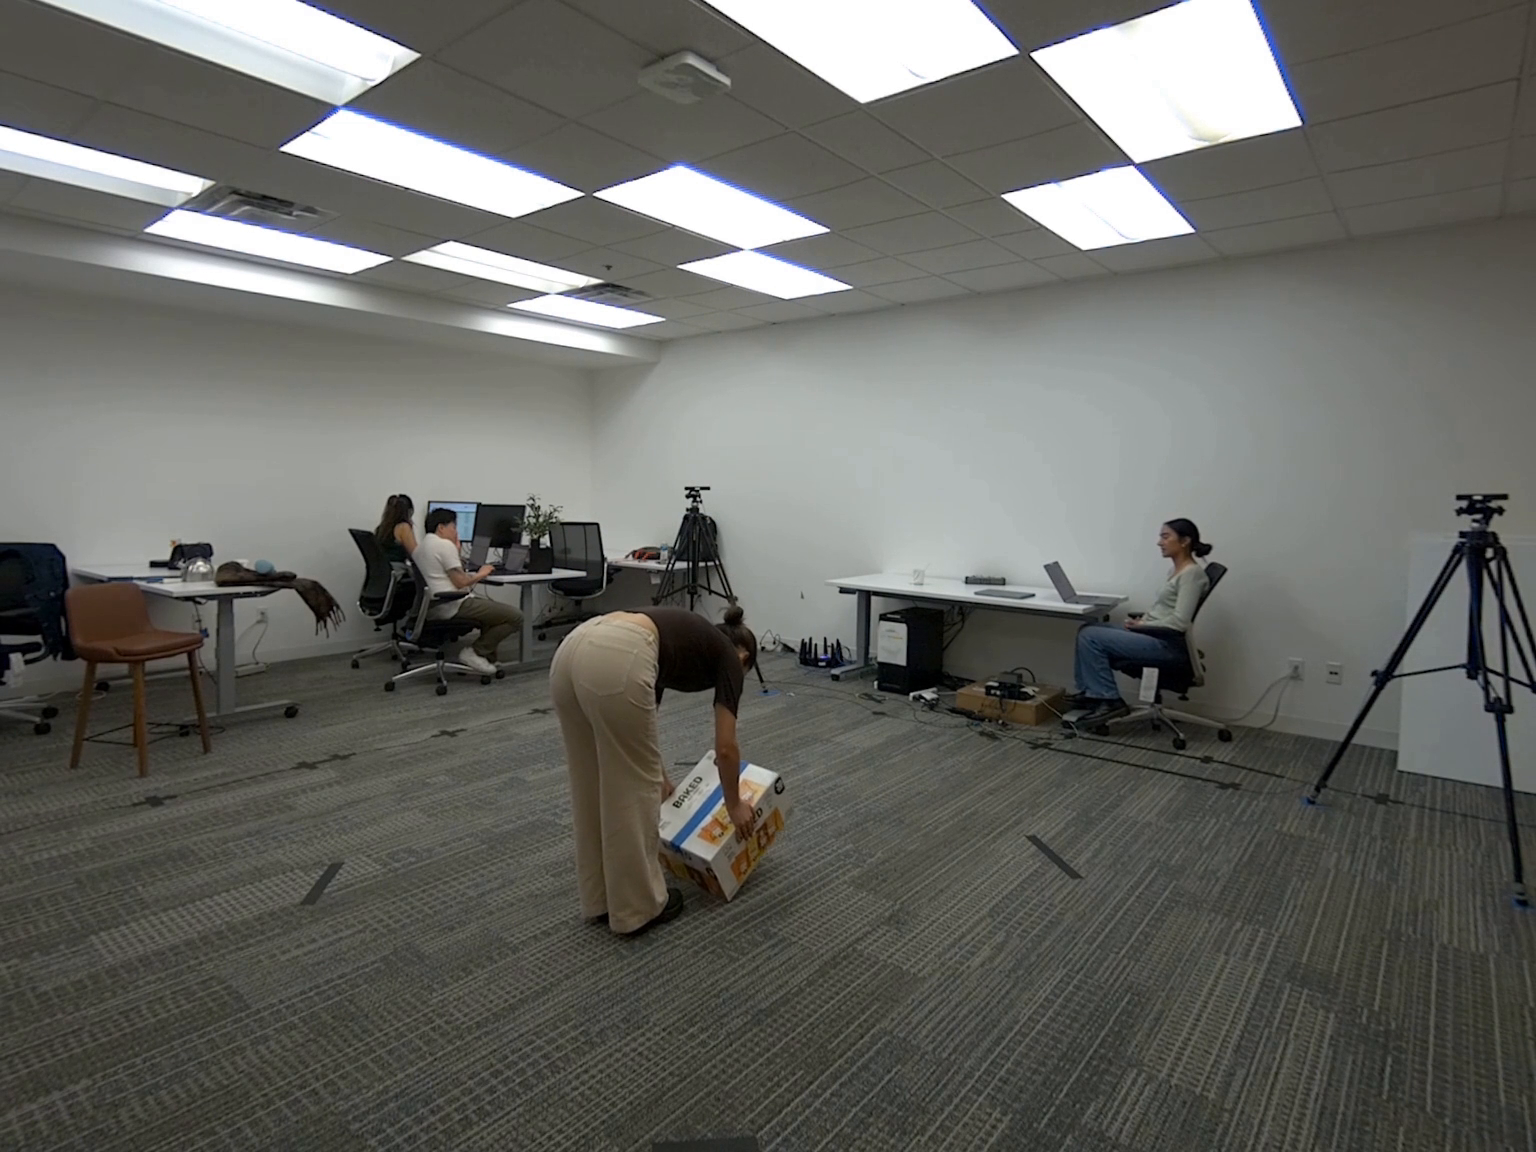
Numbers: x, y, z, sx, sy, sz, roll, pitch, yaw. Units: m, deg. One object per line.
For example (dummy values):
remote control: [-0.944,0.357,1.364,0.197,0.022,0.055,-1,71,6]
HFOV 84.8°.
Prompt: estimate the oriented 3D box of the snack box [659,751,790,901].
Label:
snack box: [-0.183,0.874,3.031,0.352,0.199,0.404,8,41,42]
